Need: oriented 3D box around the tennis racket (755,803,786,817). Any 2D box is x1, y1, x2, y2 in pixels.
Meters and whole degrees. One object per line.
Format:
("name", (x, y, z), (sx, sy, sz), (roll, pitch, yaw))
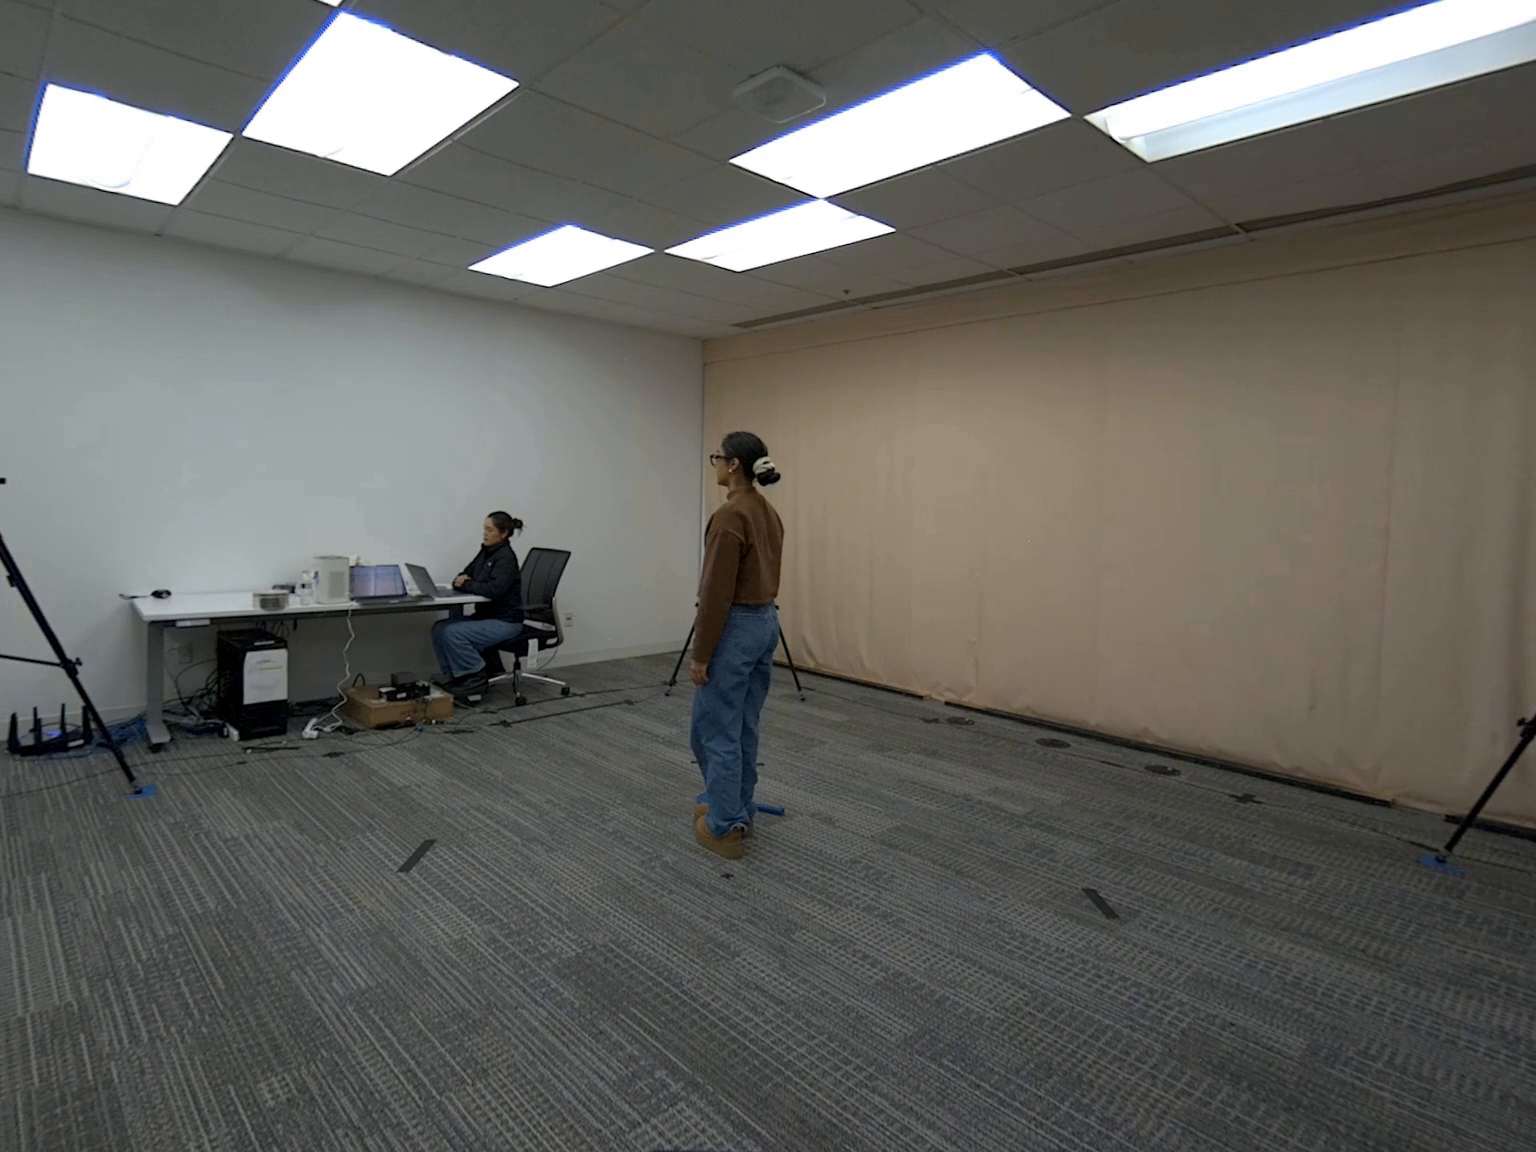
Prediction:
("tennis racket", (-0.132, 1.035, 3.825), (0.442, 0.032, 0.210), (3, 4, 27))
